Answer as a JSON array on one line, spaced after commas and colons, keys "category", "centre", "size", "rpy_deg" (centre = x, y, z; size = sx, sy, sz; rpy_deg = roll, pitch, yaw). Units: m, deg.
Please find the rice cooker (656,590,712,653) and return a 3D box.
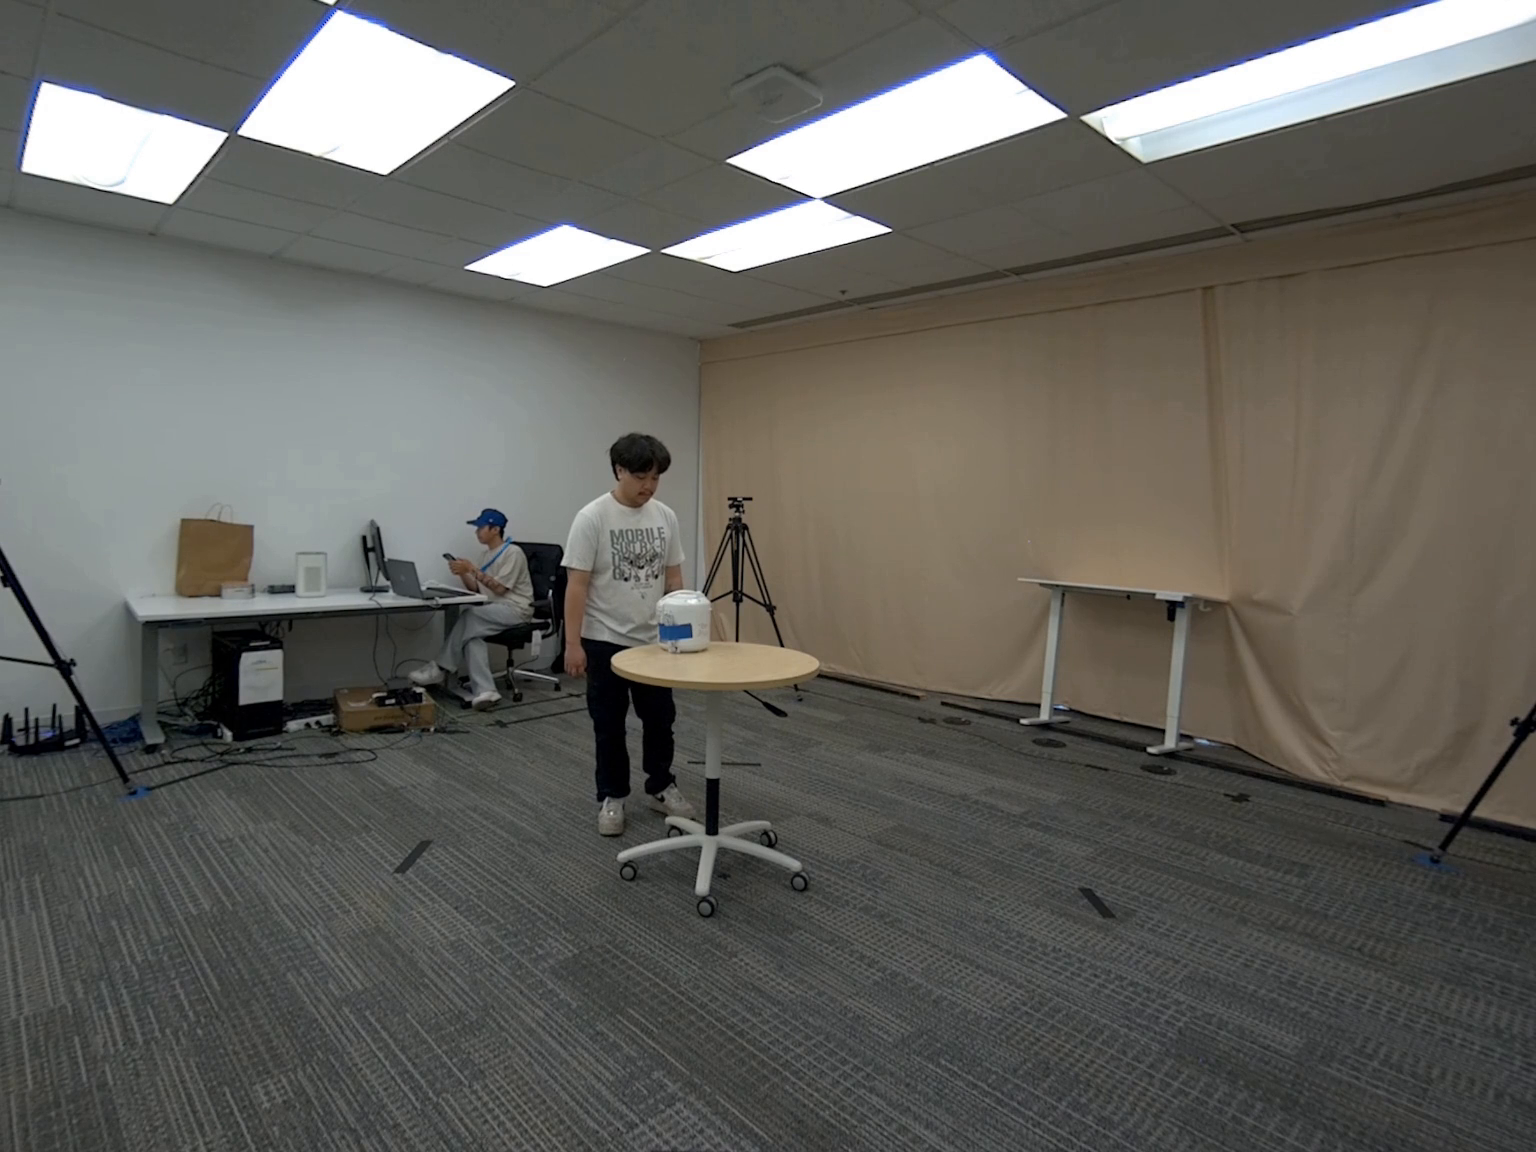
[{"category": "rice cooker", "centre": [-0.339, 0.171, 3.307], "size": [0.217, 0.232, 0.222], "rpy_deg": [0, 5, -23]}]
